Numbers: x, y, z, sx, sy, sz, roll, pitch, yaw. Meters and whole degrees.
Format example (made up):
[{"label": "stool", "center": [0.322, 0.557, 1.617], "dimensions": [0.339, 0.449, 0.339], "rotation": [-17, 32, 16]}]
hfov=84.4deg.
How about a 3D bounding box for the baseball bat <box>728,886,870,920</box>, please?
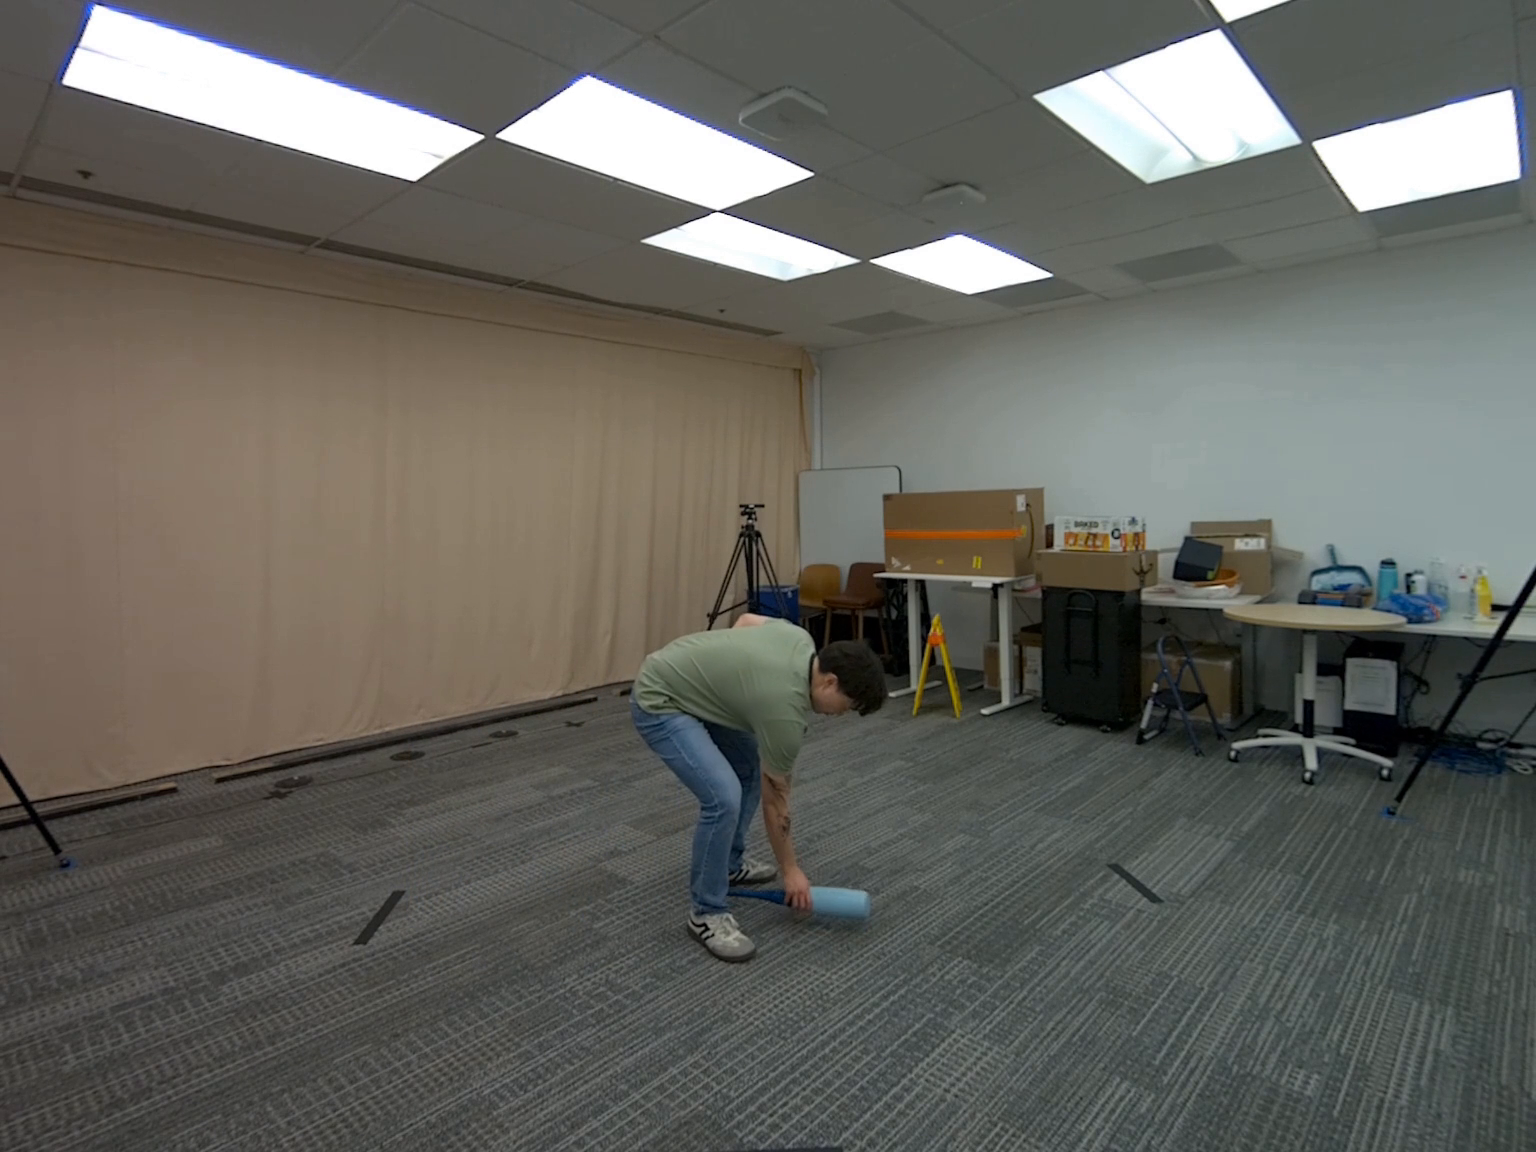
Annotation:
[{"label": "baseball bat", "center": [0.082, 1.075, 2.814], "dimensions": [0.554, 0.089, 0.087], "rotation": [-4, 3, 21]}]
